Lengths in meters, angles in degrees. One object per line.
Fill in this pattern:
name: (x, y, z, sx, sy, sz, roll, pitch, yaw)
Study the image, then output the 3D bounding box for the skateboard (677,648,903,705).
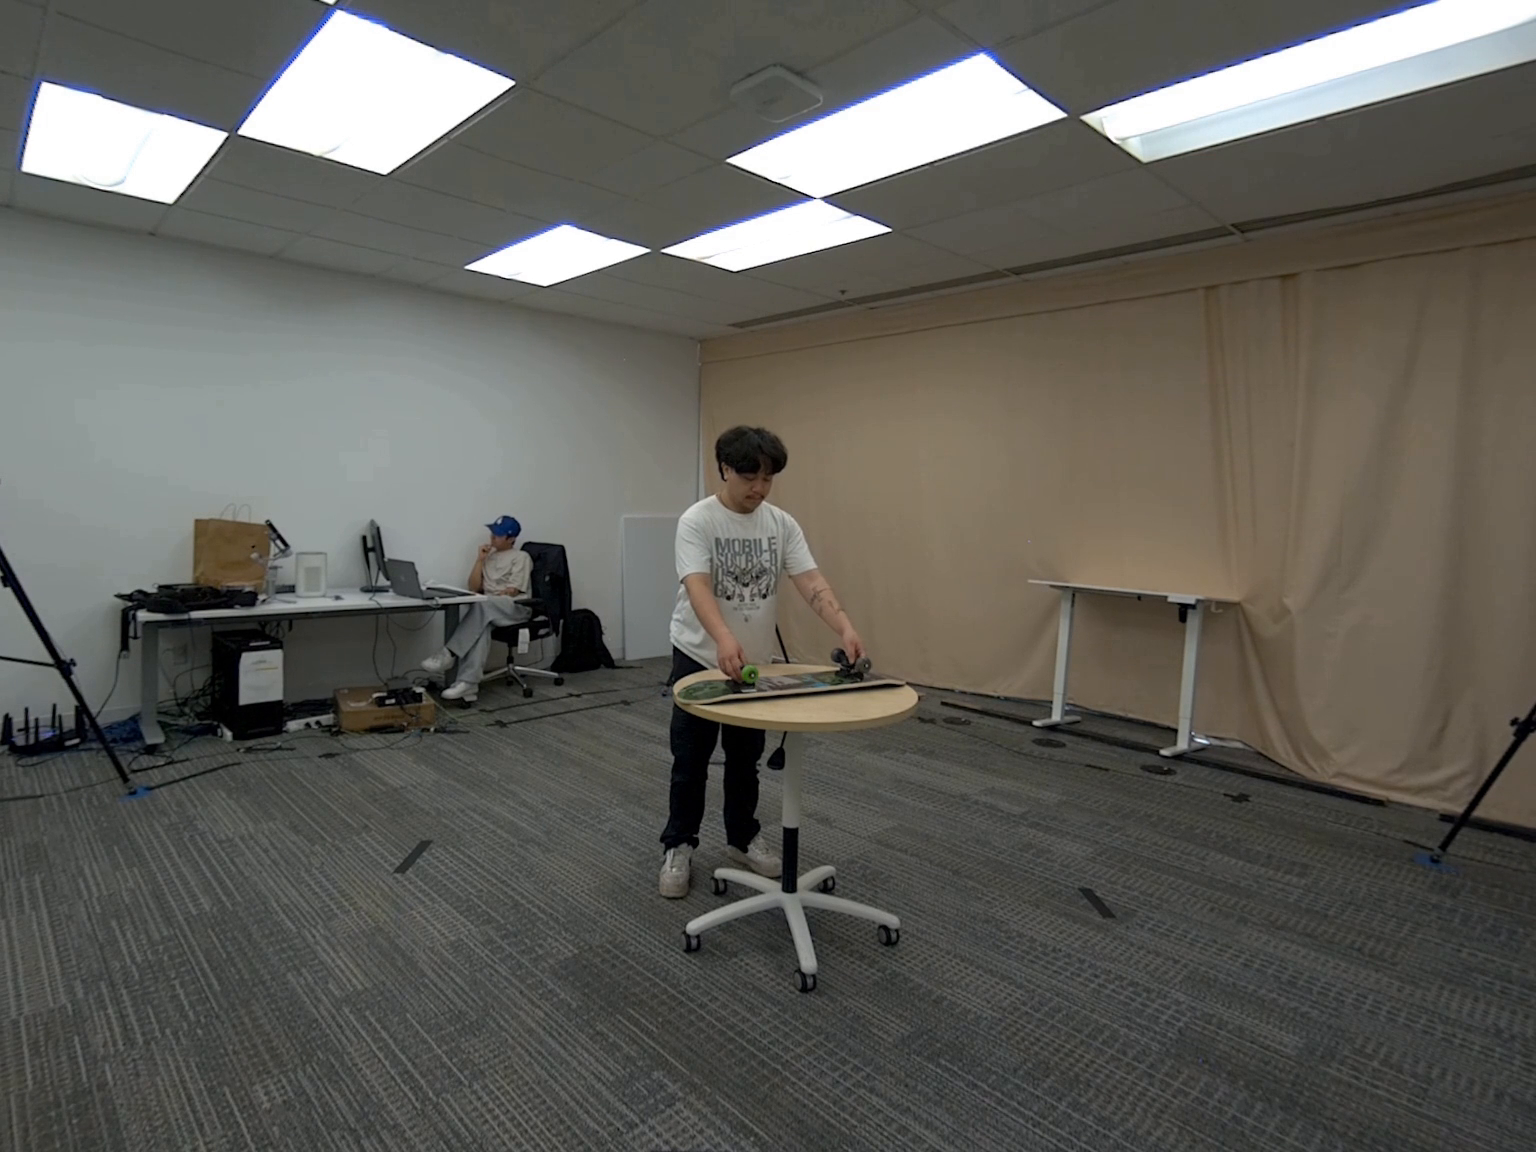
skateboard: (0.082, 0.312, 2.641, 0.772, 0.110, 0.198, -1, 7, -24)
